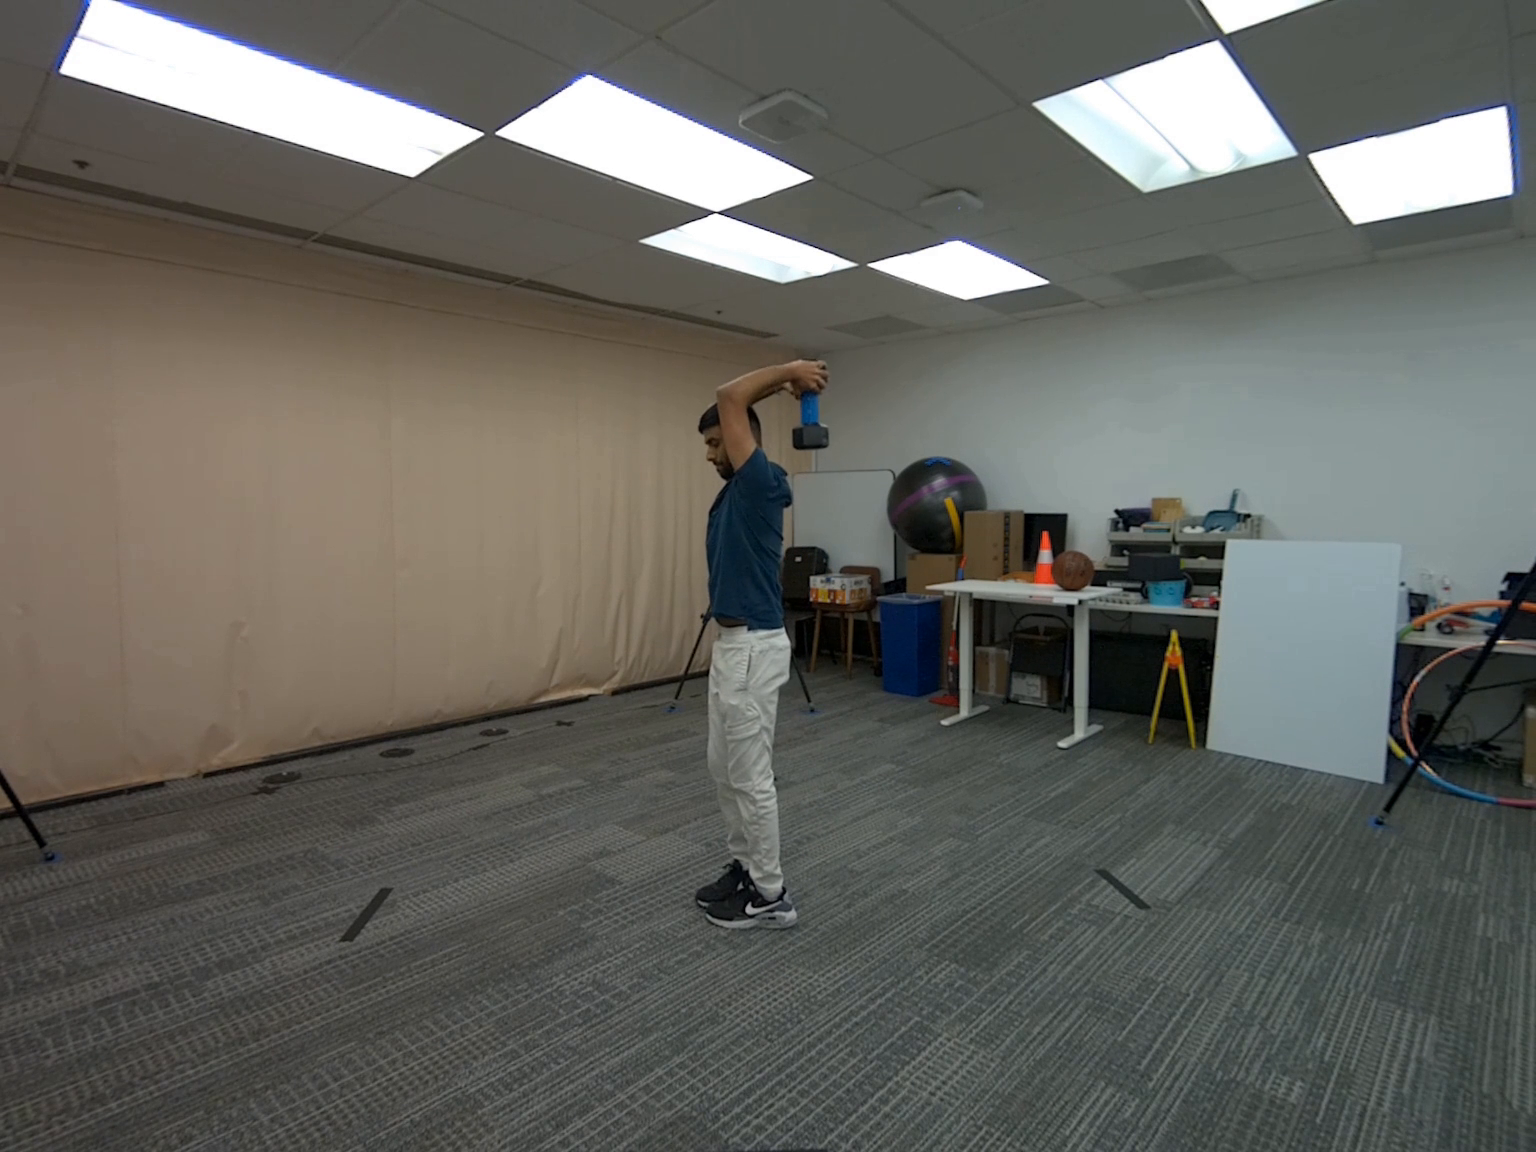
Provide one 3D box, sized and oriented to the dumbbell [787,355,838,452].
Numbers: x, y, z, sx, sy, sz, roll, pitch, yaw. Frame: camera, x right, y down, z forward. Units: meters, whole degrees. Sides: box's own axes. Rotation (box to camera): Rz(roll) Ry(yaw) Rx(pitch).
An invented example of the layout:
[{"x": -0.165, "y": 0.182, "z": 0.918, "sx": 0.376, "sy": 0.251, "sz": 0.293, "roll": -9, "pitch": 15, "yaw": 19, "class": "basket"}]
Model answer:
[{"x": 0.142, "y": -0.569, "z": 2.802, "sx": 0.122, "sy": 0.292, "sz": 0.109, "roll": -7, "pitch": 5, "yaw": -4, "class": "dumbbell"}]
